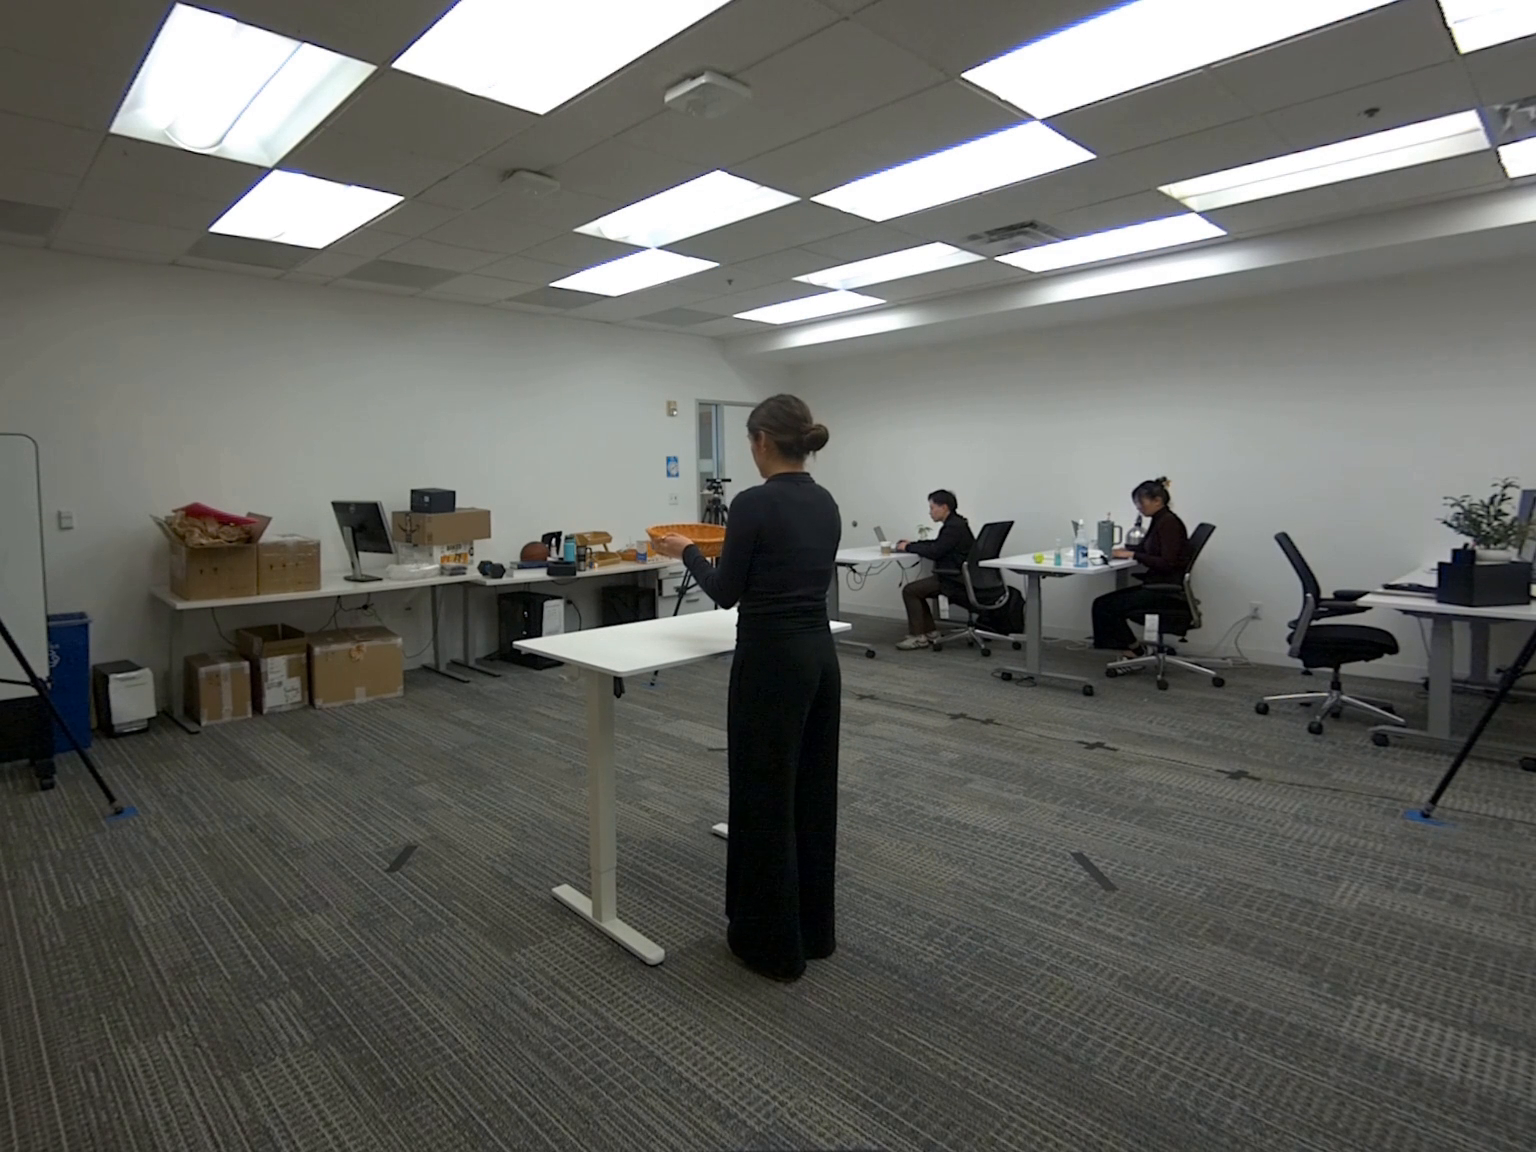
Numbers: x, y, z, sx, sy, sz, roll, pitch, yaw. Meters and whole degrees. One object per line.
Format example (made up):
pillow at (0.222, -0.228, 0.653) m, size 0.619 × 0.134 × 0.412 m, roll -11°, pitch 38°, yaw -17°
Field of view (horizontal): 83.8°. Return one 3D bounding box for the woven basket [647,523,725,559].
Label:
woven basket at (-0.210, -0.104, 2.743) m, size 0.341 × 0.073 × 0.261 m, roll -5°, pitch 15°, yaw -39°
